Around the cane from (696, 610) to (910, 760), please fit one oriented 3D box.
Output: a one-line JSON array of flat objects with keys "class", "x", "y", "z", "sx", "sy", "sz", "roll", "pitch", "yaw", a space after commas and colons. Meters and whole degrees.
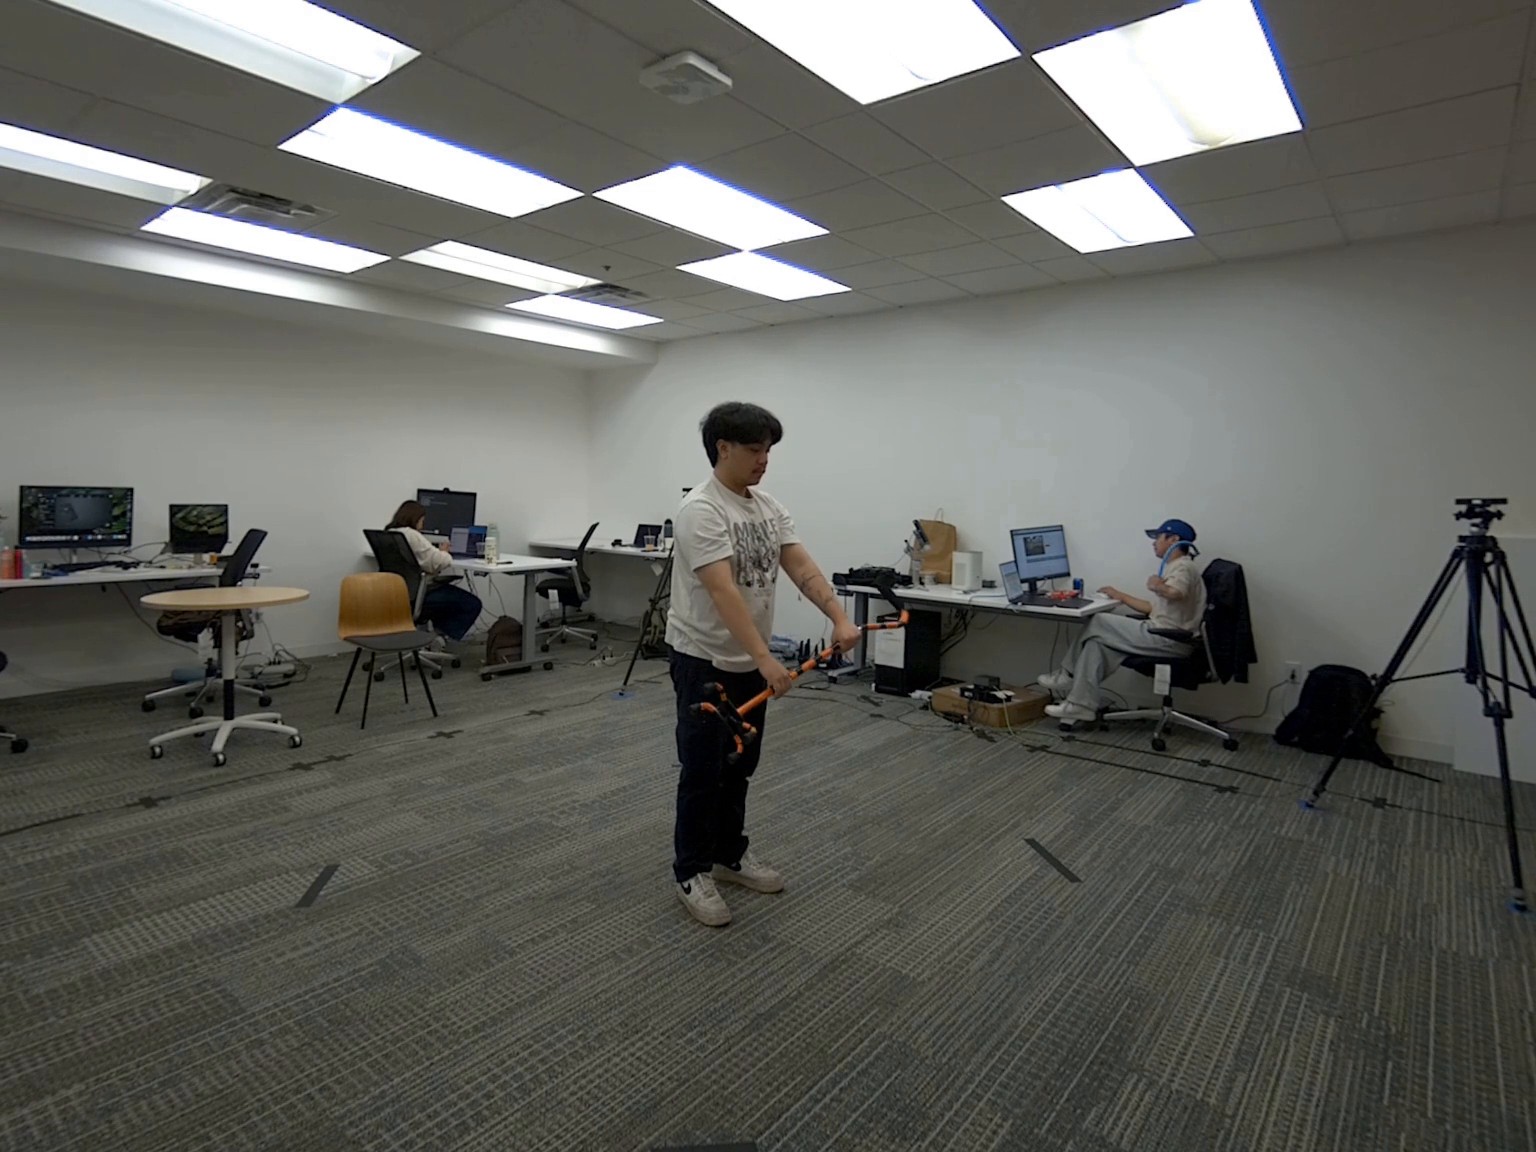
[{"class": "cane", "x": 0.167, "y": 0.272, "z": 2.677, "sx": 0.894, "sy": 0.212, "sz": 0.150, "roll": -27, "pitch": -21, "yaw": -38}]
